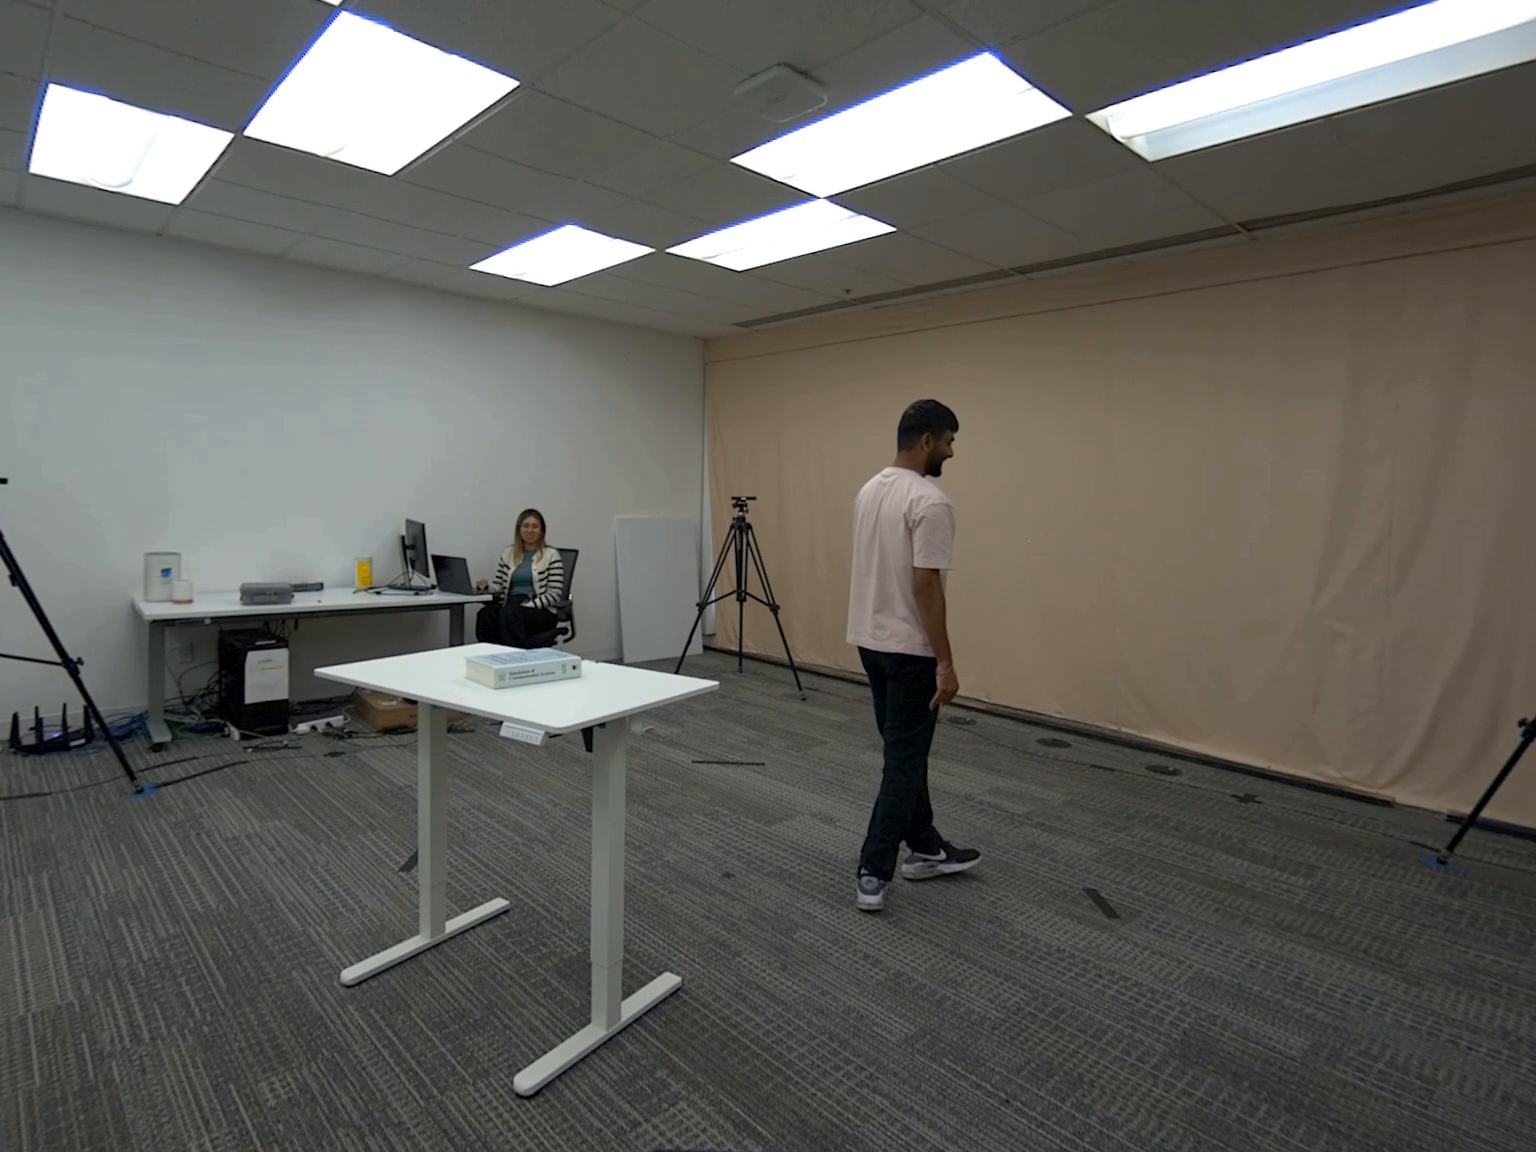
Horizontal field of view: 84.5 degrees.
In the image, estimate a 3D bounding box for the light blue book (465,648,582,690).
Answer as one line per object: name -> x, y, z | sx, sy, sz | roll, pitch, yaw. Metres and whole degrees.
light blue book -> -0.691, 0.255, 2.321 | 0.255, 0.059, 0.196 | -4, 7, -43
